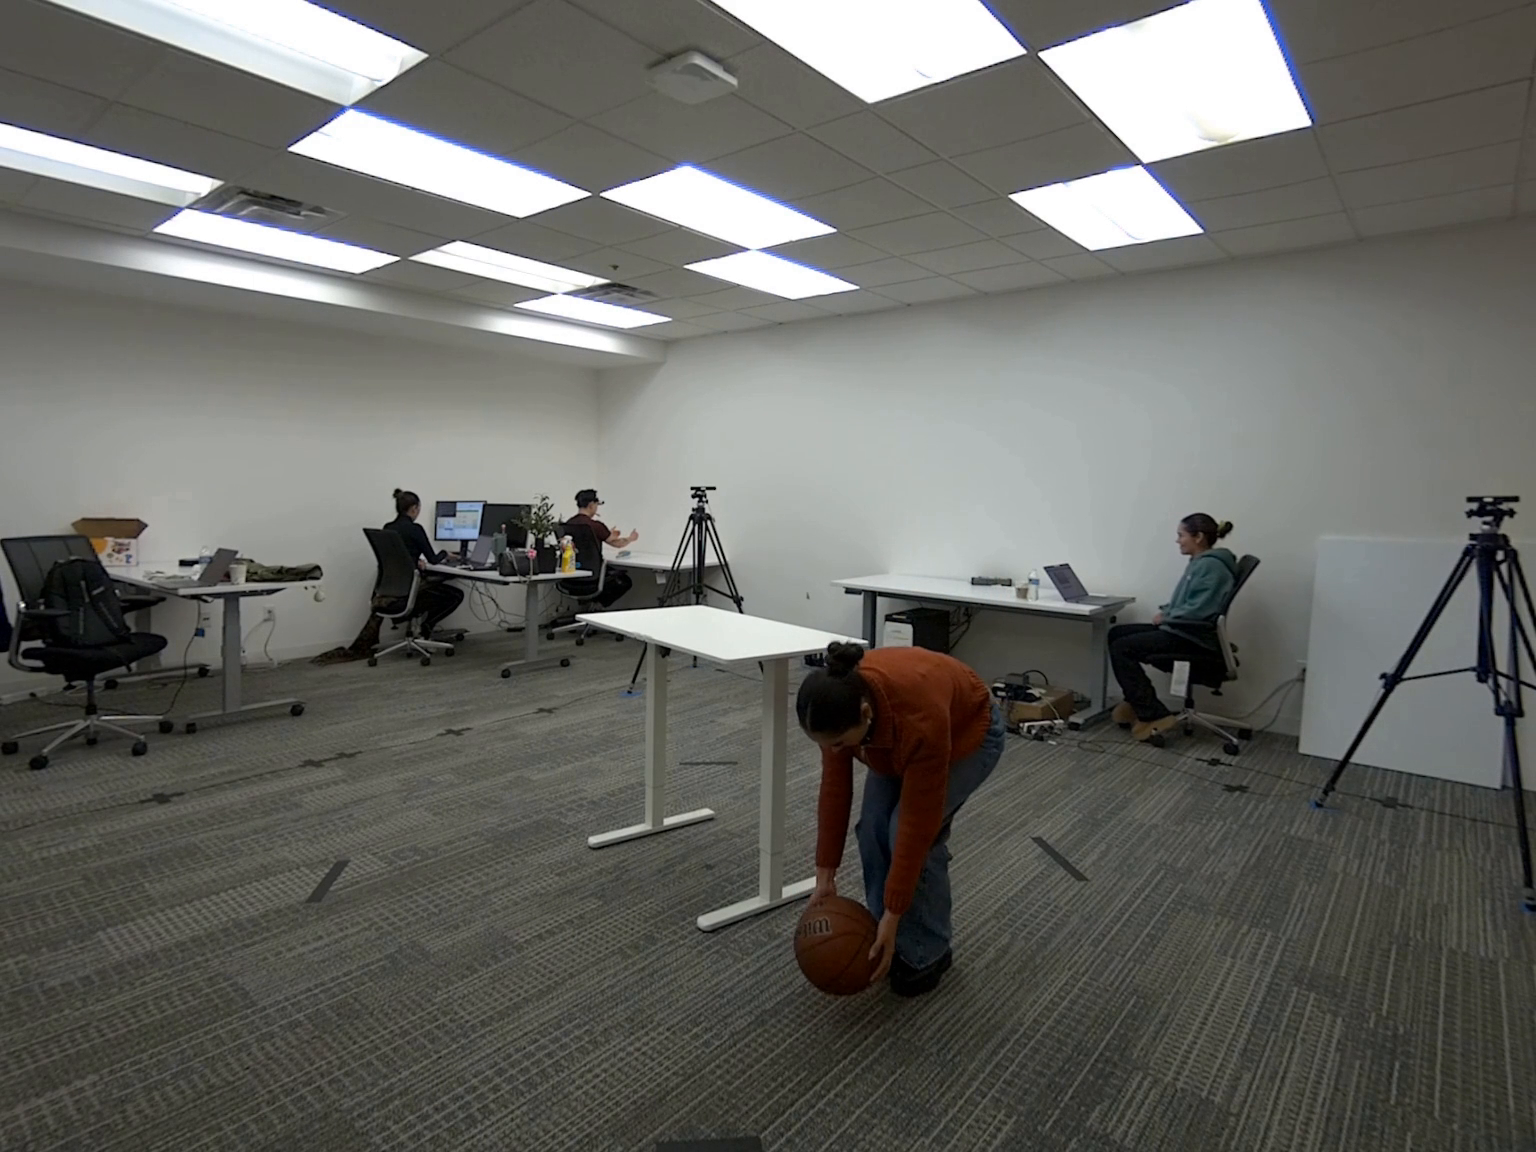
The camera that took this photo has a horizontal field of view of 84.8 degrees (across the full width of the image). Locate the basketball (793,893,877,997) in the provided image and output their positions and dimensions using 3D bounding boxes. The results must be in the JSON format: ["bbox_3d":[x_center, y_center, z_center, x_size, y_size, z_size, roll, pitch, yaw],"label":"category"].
[{"bbox_3d":[0.184,0.952,2.234,0.235,0.235,0.237,1,4,-2],"label":"basketball"}]
